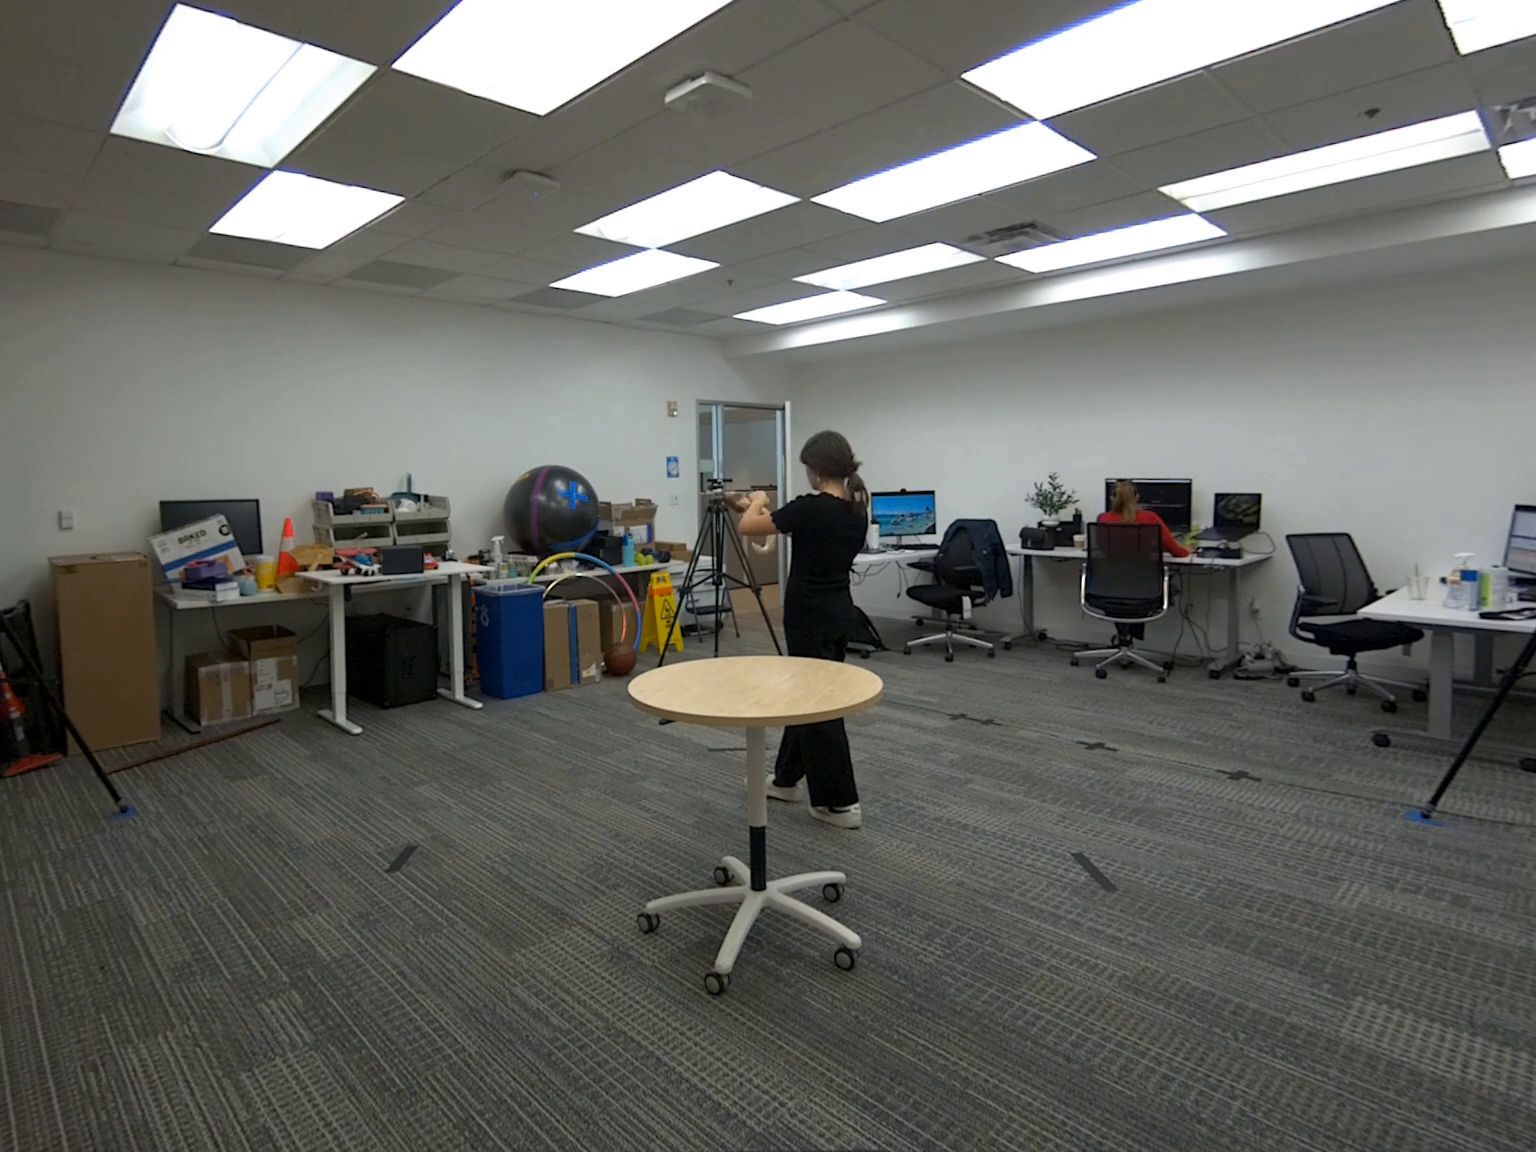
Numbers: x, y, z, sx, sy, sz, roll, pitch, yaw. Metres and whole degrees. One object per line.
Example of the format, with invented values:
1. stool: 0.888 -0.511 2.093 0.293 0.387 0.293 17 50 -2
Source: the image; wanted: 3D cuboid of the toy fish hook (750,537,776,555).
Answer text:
1. toy fish hook: -0.091 -0.242 3.818 0.049 0.228 0.488 -6 -18 30
